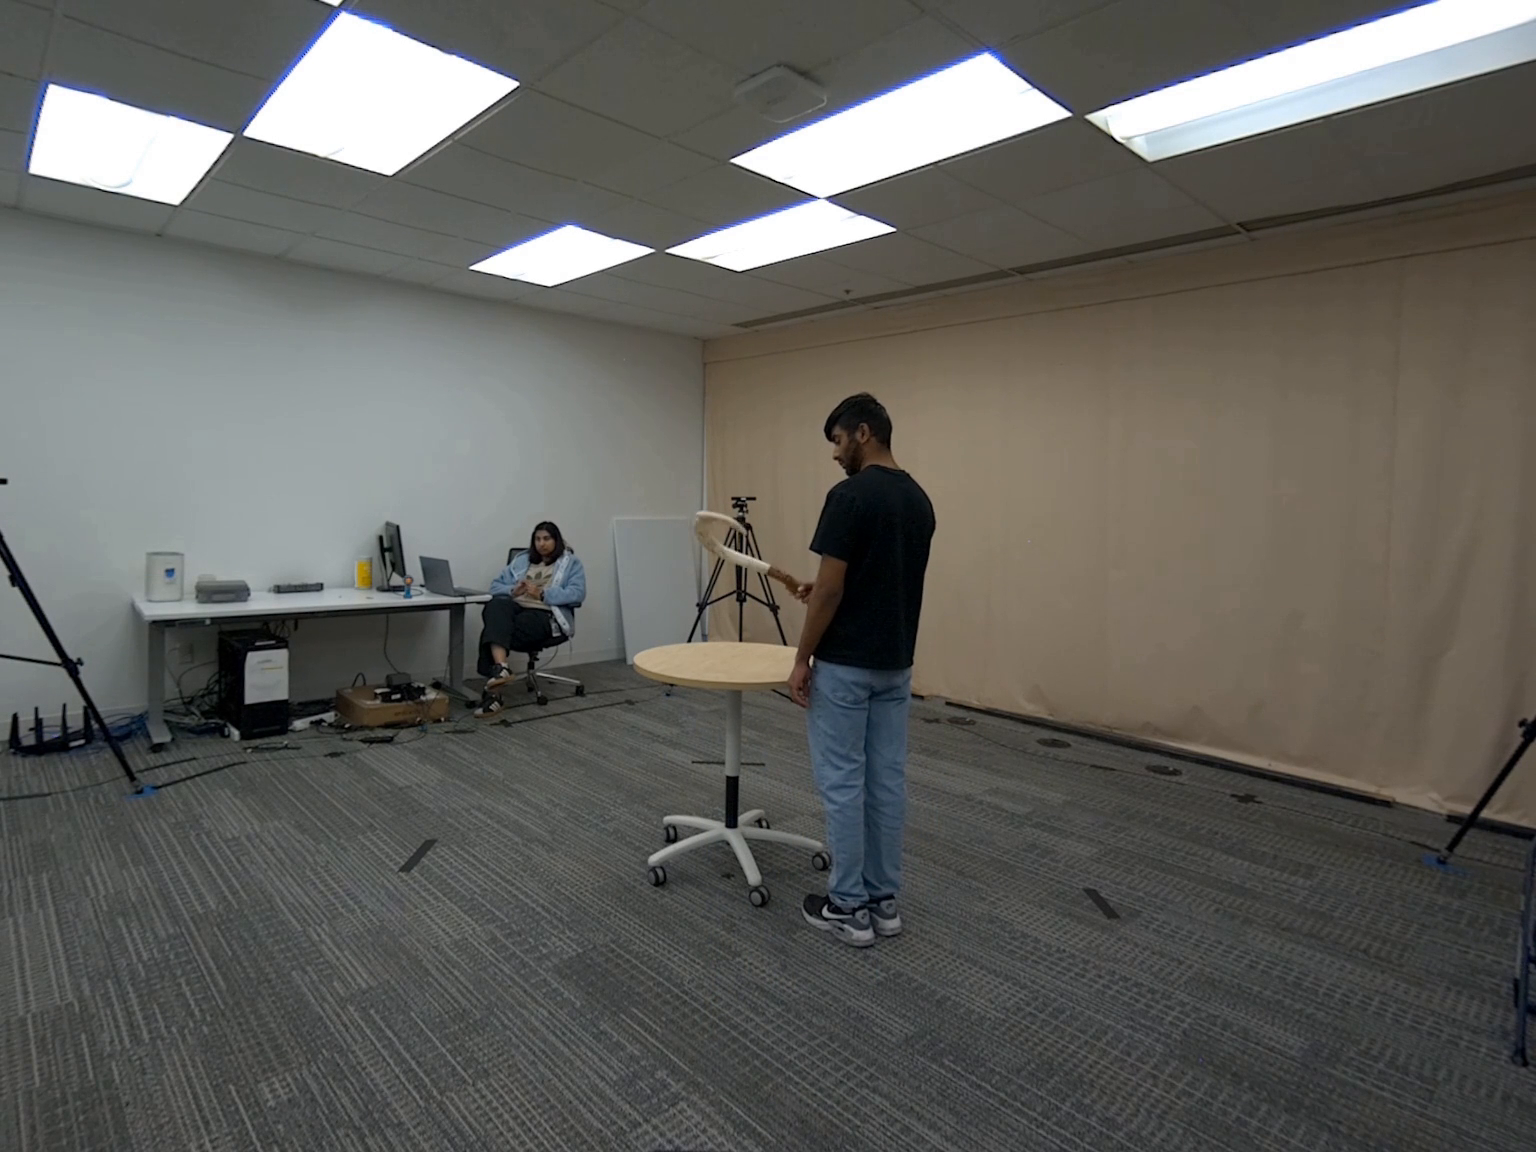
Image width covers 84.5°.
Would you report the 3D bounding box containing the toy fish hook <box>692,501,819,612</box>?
[{"bbox_3d":[-0.024,-0.056,2.885,0.512,0.048,0.221,30,-29,9],"label":"toy fish hook"}]
